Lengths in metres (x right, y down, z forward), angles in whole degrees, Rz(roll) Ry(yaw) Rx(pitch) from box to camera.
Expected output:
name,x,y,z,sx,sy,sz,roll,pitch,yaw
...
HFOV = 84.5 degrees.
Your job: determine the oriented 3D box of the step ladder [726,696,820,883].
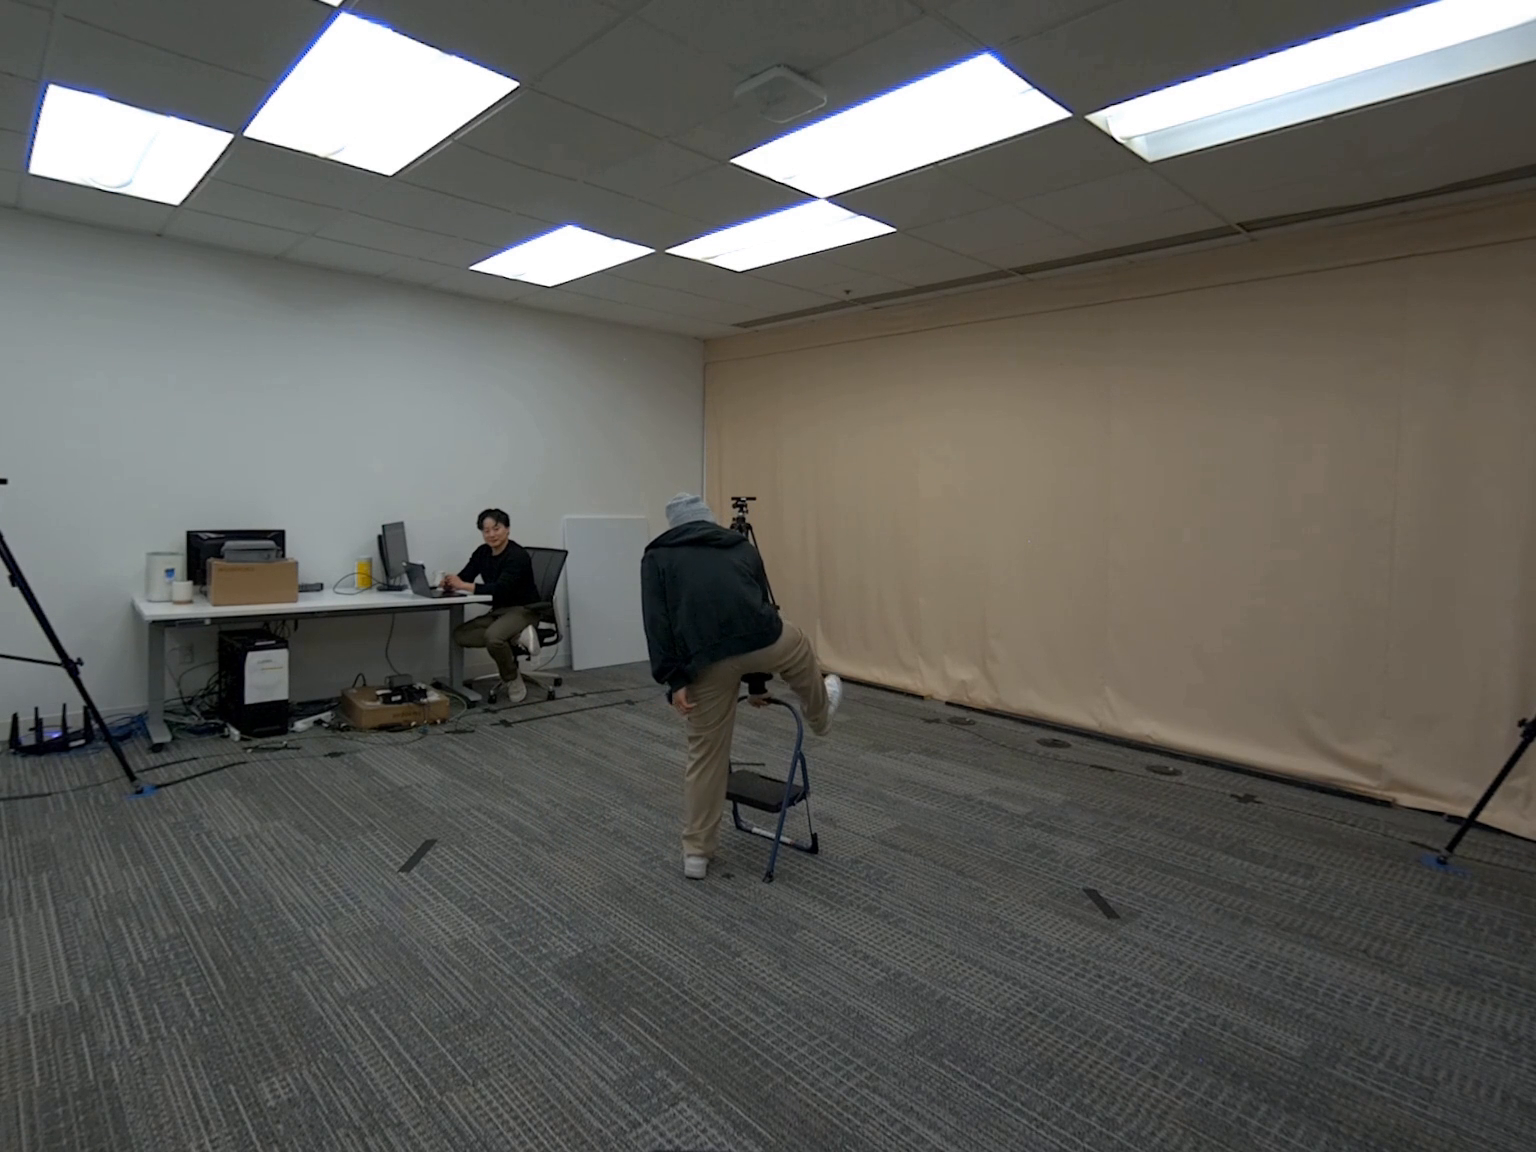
name,x,y,z,sx,sy,sz,roll,pitch,yaw
step ladder,-0.060,0.787,3.305,0.441,0.605,0.341,4,4,37
